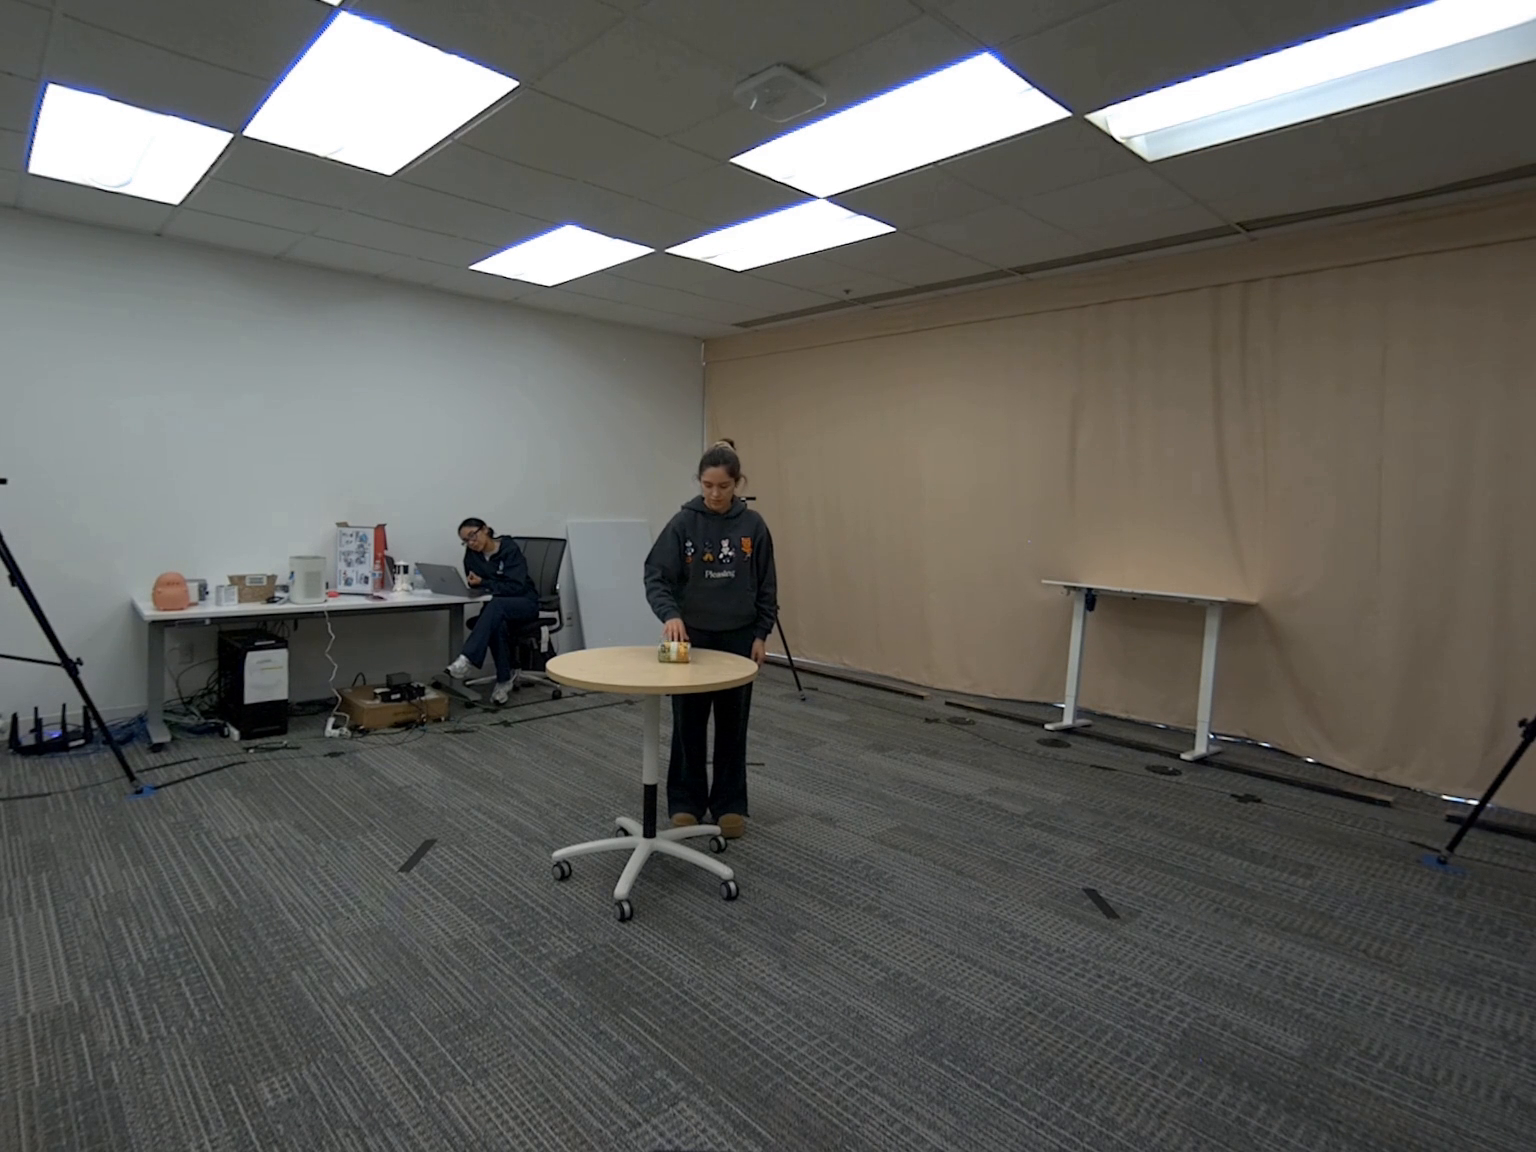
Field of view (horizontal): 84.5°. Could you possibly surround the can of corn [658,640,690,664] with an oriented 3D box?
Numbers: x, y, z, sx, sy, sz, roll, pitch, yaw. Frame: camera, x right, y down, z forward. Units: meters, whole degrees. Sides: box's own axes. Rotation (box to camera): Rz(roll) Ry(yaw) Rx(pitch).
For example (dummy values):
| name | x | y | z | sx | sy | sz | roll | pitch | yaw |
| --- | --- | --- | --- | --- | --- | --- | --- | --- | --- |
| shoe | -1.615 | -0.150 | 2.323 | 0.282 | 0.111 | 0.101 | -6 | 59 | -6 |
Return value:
| name | x | y | z | sx | sy | sz | roll | pitch | yaw |
| --- | --- | --- | --- | --- | --- | --- | --- | --- | --- |
| can of corn | -0.362 | 0.280 | 3.120 | 0.111 | 0.074 | 0.074 | 3 | 5 | 3 |
